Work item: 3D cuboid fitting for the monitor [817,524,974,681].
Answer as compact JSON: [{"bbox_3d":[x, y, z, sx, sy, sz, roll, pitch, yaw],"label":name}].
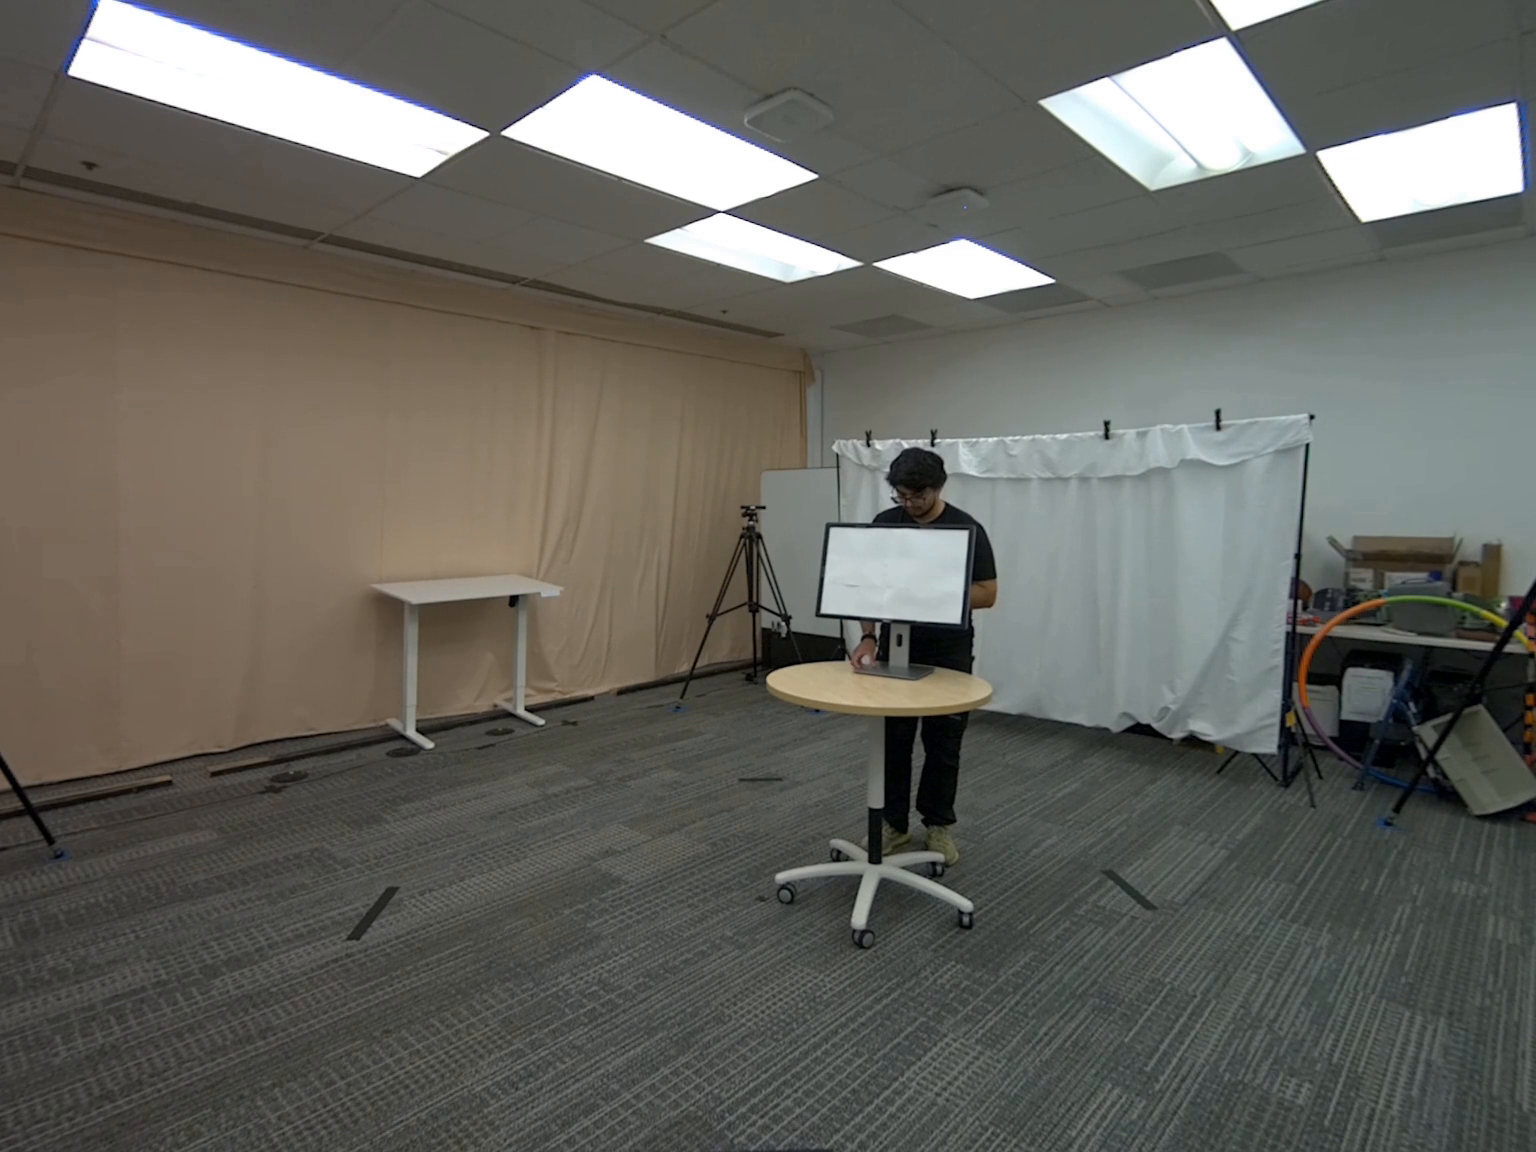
[{"bbox_3d":[0.478,0.085,3.092,0.582,0.555,0.204,2,-3,30],"label":"monitor"}]
